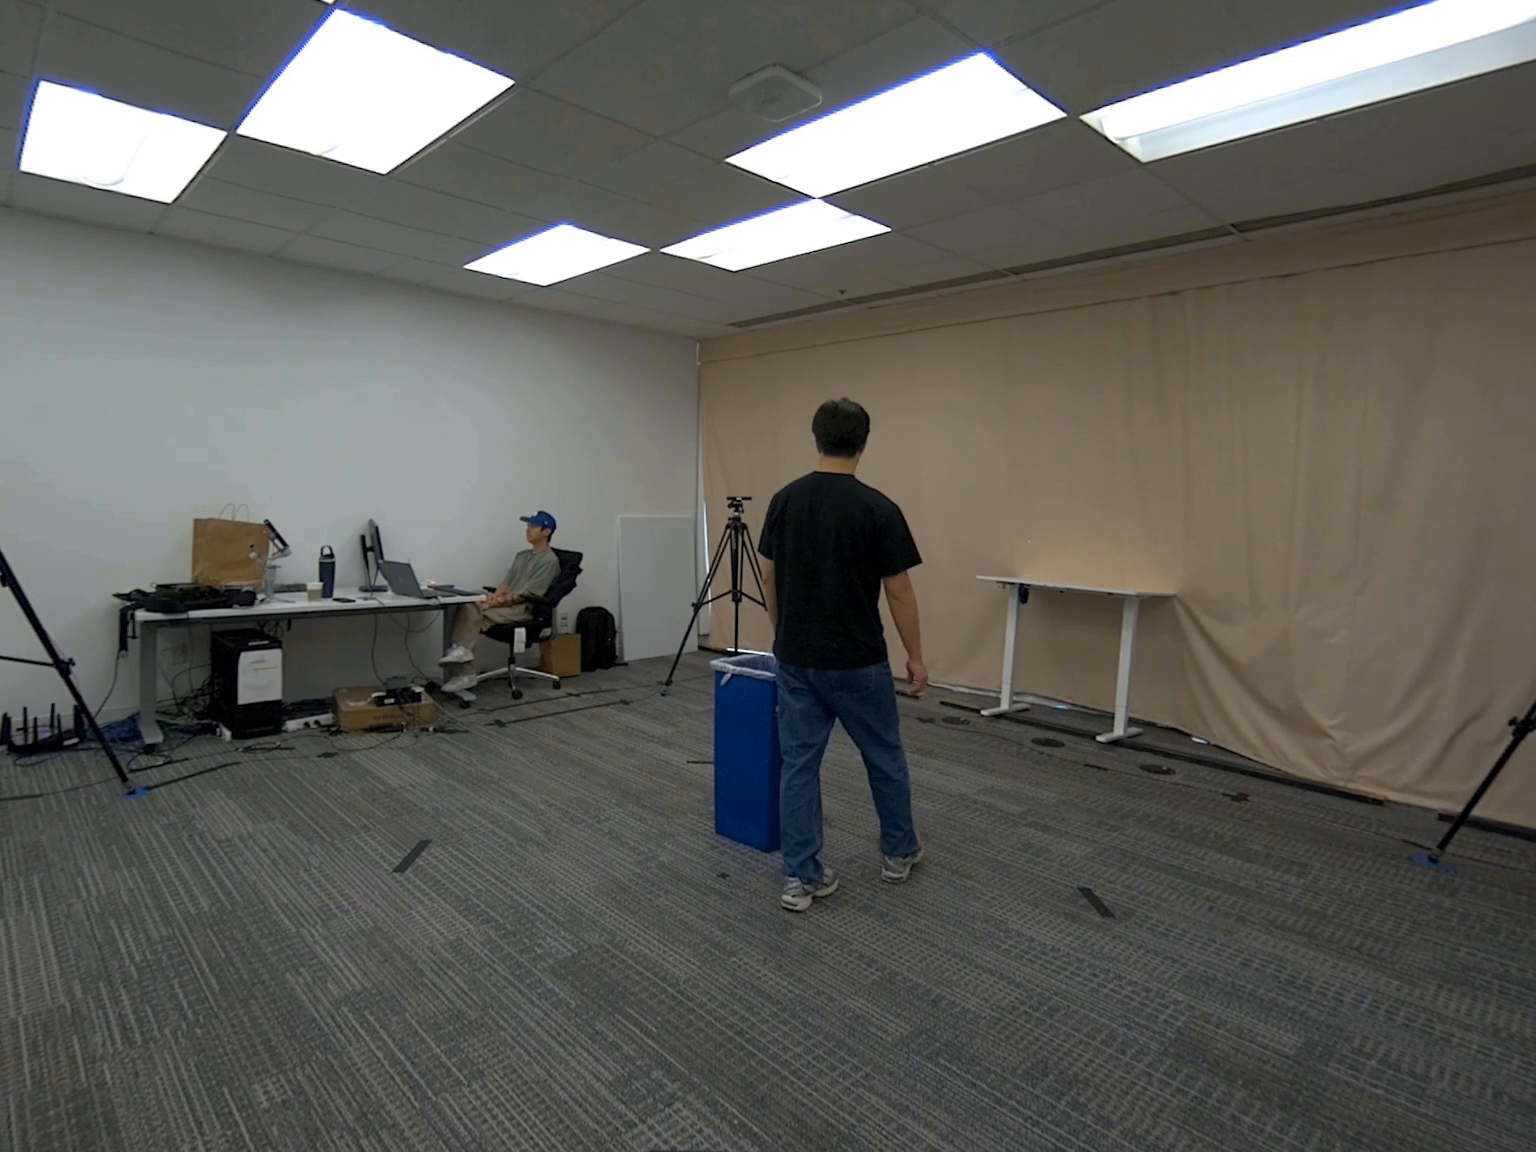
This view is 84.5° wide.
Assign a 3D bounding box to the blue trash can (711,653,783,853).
[{"bbox_3d":[-0.012,0.716,3.510,0.388,0.712,0.365,5,4,42],"label":"blue trash can"}]
